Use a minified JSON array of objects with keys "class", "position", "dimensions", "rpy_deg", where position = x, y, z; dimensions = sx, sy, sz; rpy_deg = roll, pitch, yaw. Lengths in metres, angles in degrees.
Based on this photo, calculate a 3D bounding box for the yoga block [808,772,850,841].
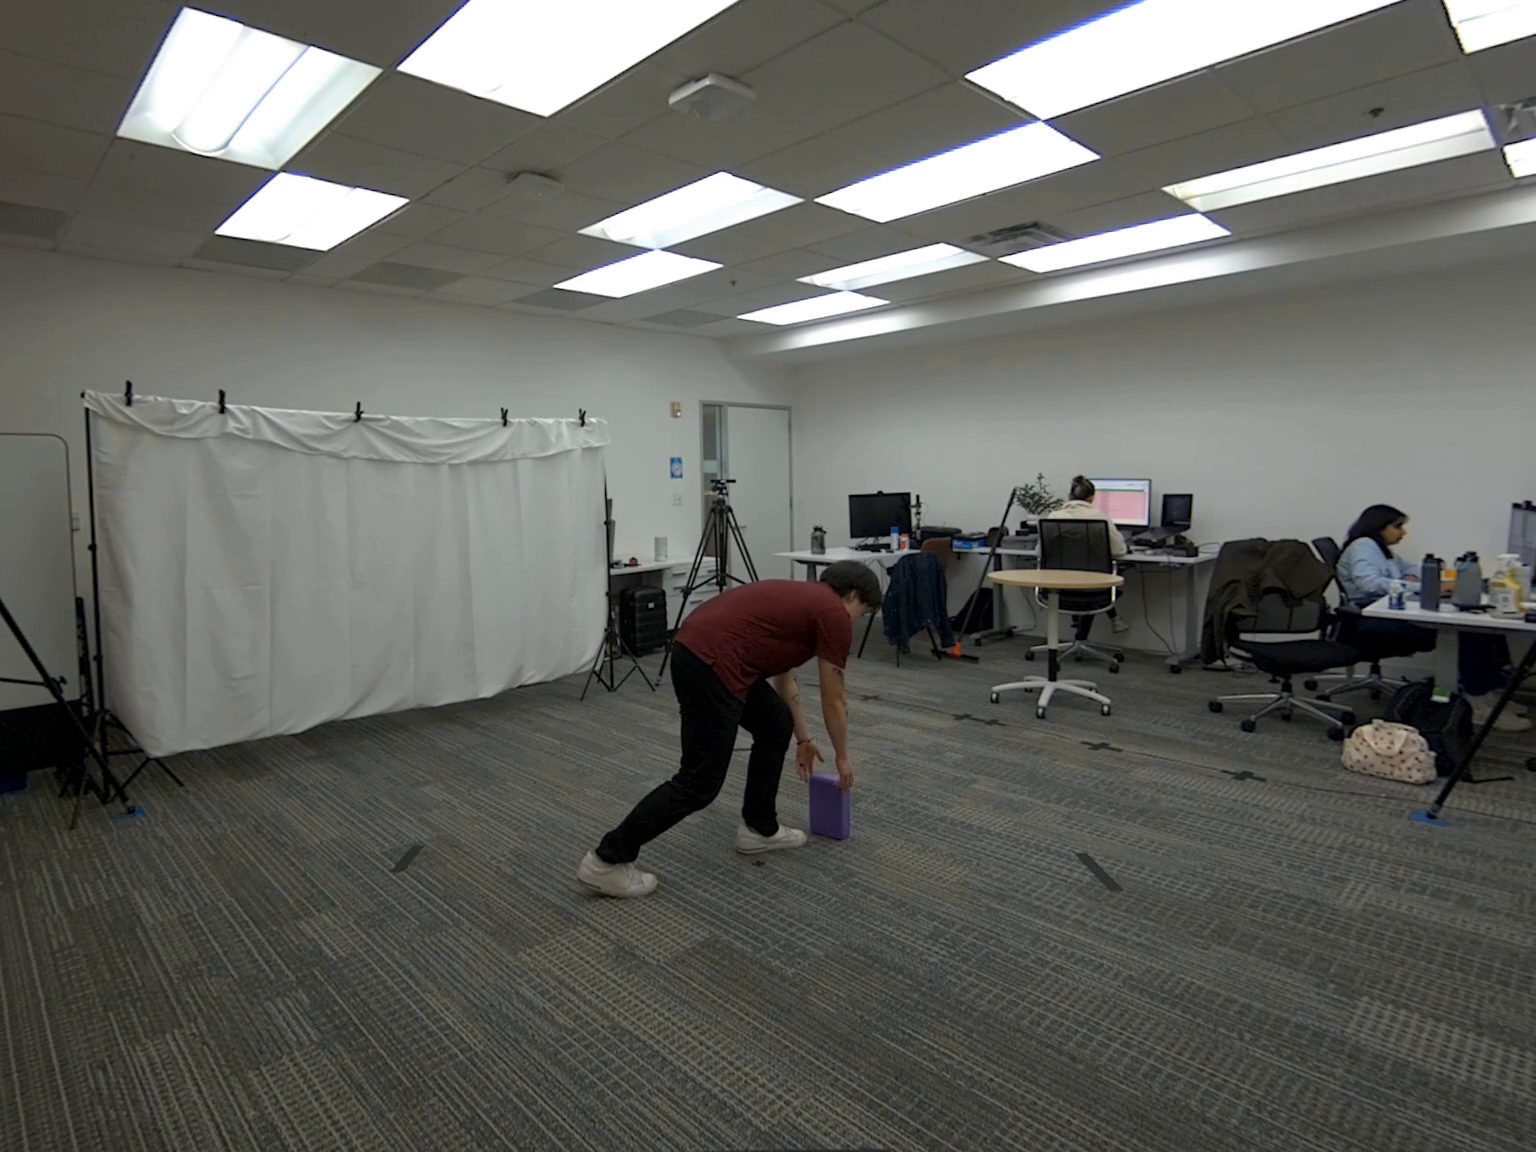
[{"class":"yoga block","position":[0.242,0.900,3.354],"dimensions":[0.153,0.228,0.074],"rpy_deg":[2,6,35]}]
